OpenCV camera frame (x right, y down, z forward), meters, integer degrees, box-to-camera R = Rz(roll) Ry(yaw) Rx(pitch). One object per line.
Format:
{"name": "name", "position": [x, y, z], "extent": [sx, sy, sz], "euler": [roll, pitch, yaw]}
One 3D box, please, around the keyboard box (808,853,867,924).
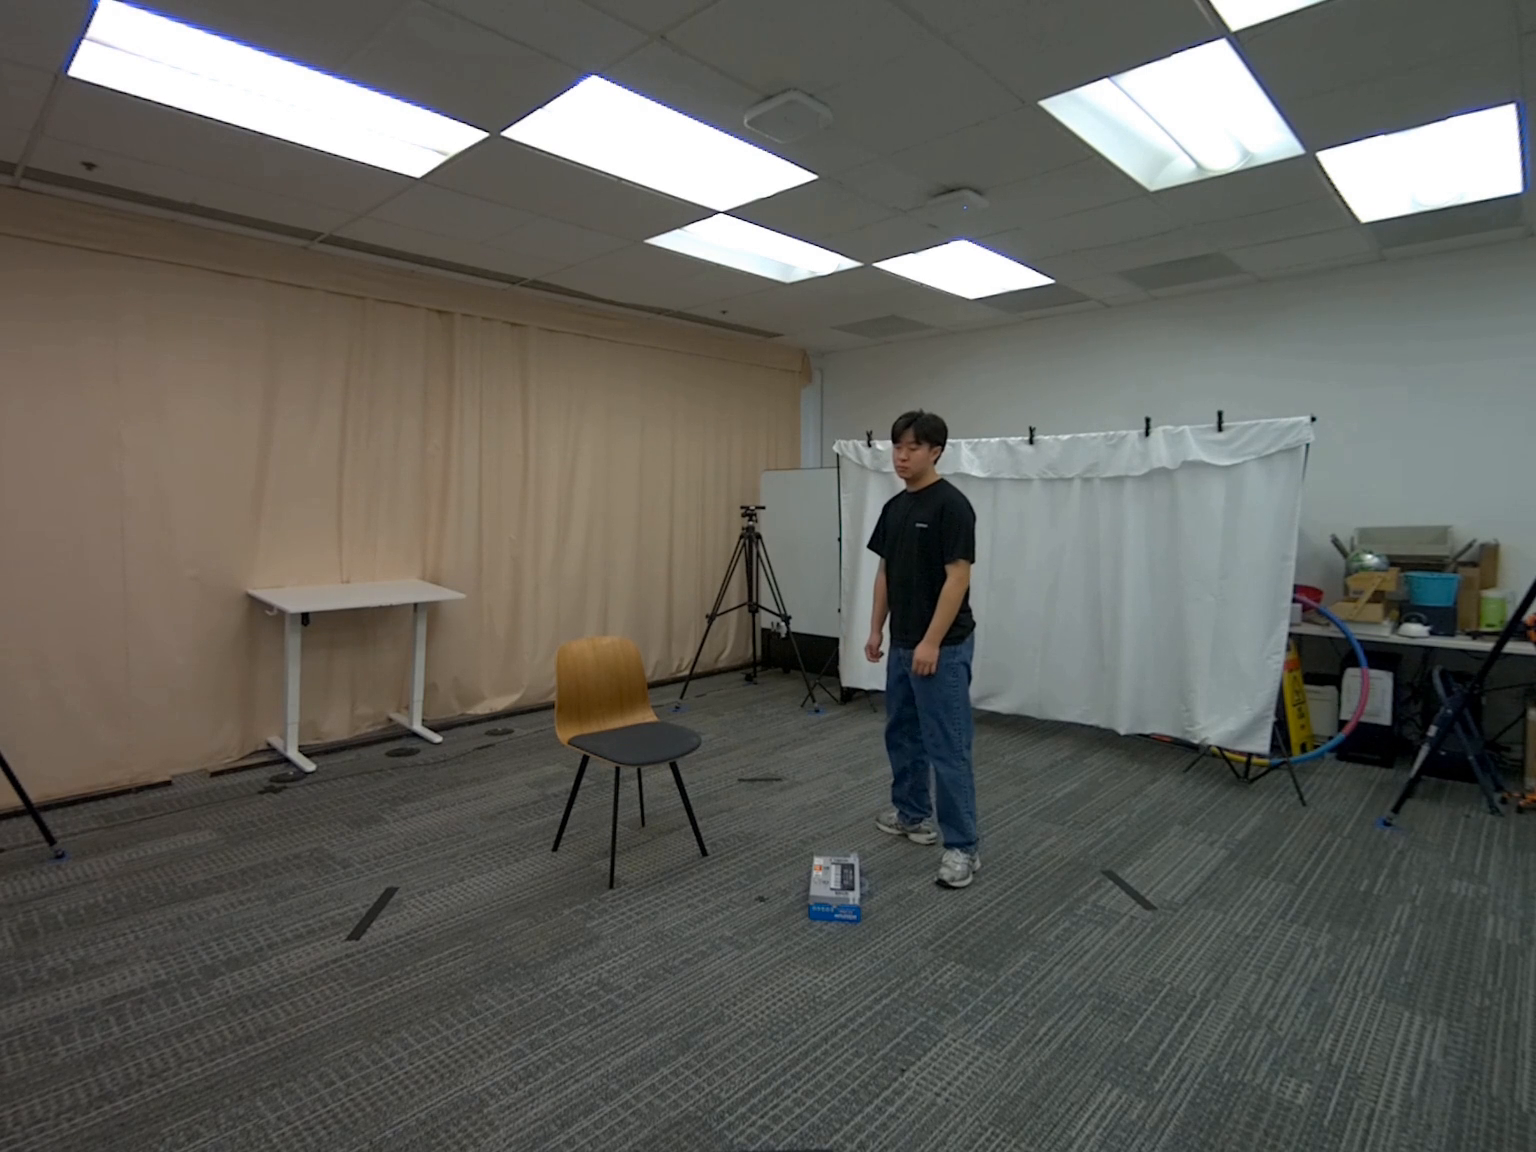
{"name": "keyboard box", "position": [0.248, 1.109, 3.034], "extent": [0.177, 0.059, 0.434], "euler": [0, 5, 6]}
